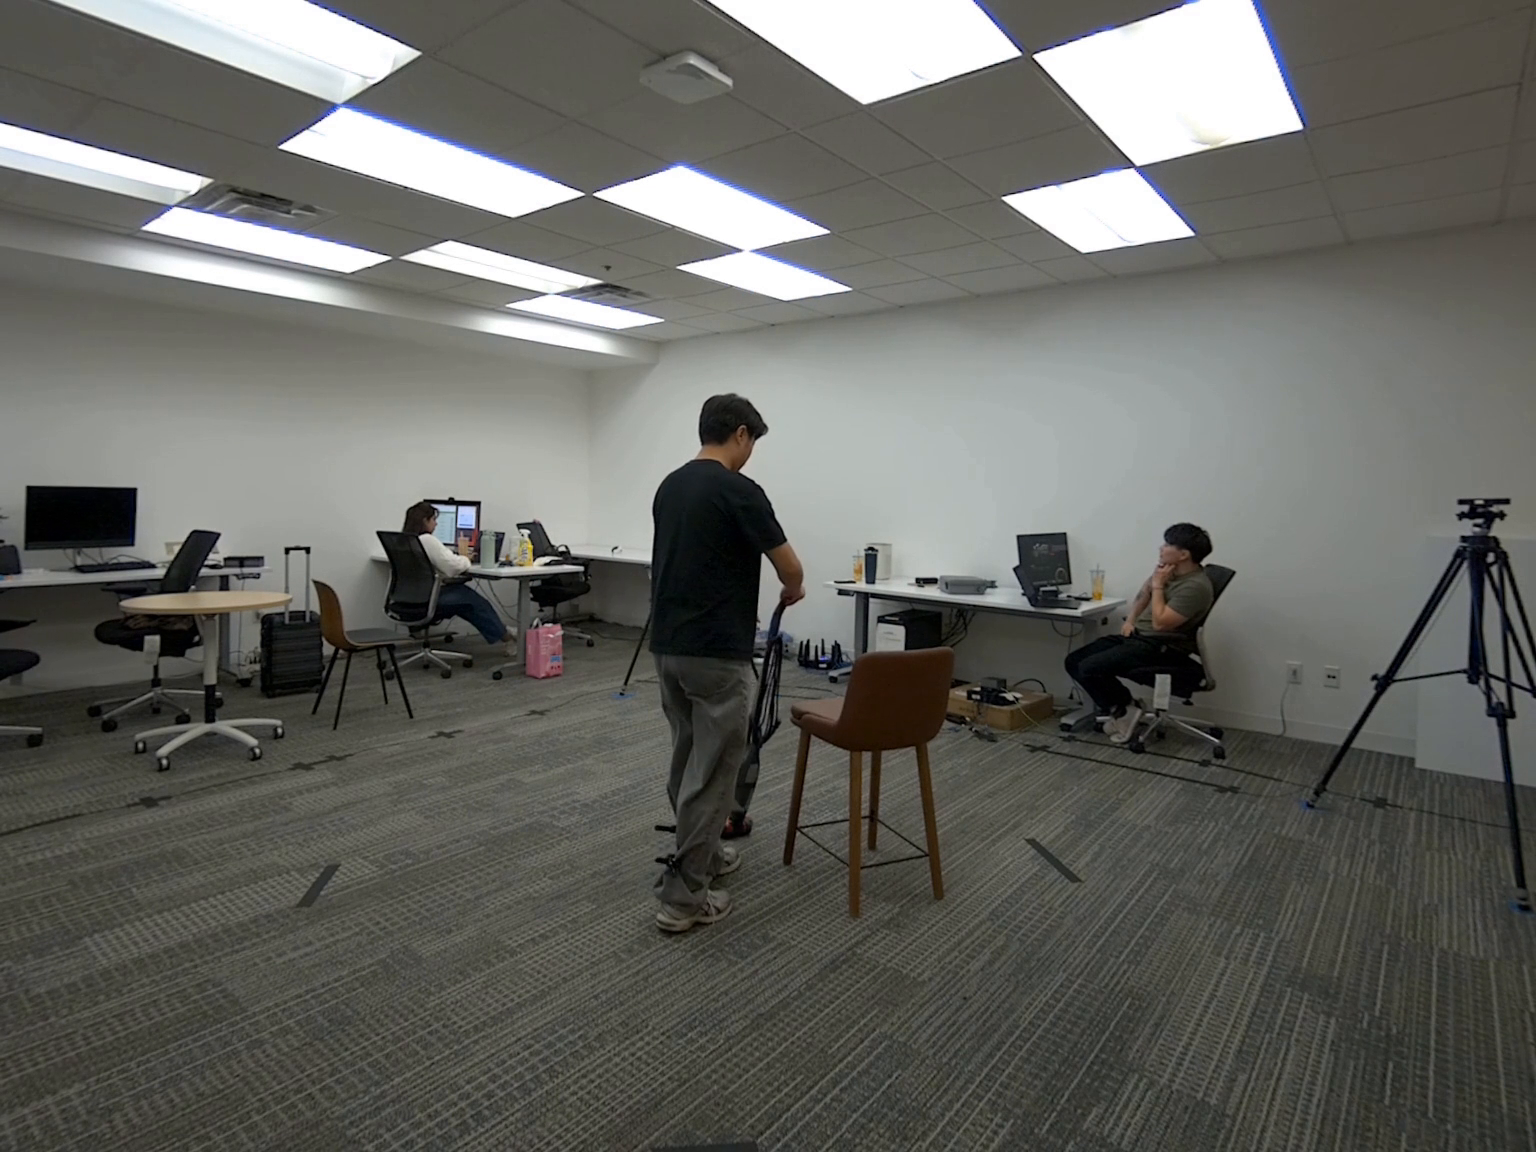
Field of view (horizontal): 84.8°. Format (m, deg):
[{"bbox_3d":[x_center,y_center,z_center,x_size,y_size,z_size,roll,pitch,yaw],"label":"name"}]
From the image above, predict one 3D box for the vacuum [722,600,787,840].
[{"bbox_3d":[-0.055,0.551,3.297,0.246,1.037,0.150,4,19,-28],"label":"vacuum"}]
